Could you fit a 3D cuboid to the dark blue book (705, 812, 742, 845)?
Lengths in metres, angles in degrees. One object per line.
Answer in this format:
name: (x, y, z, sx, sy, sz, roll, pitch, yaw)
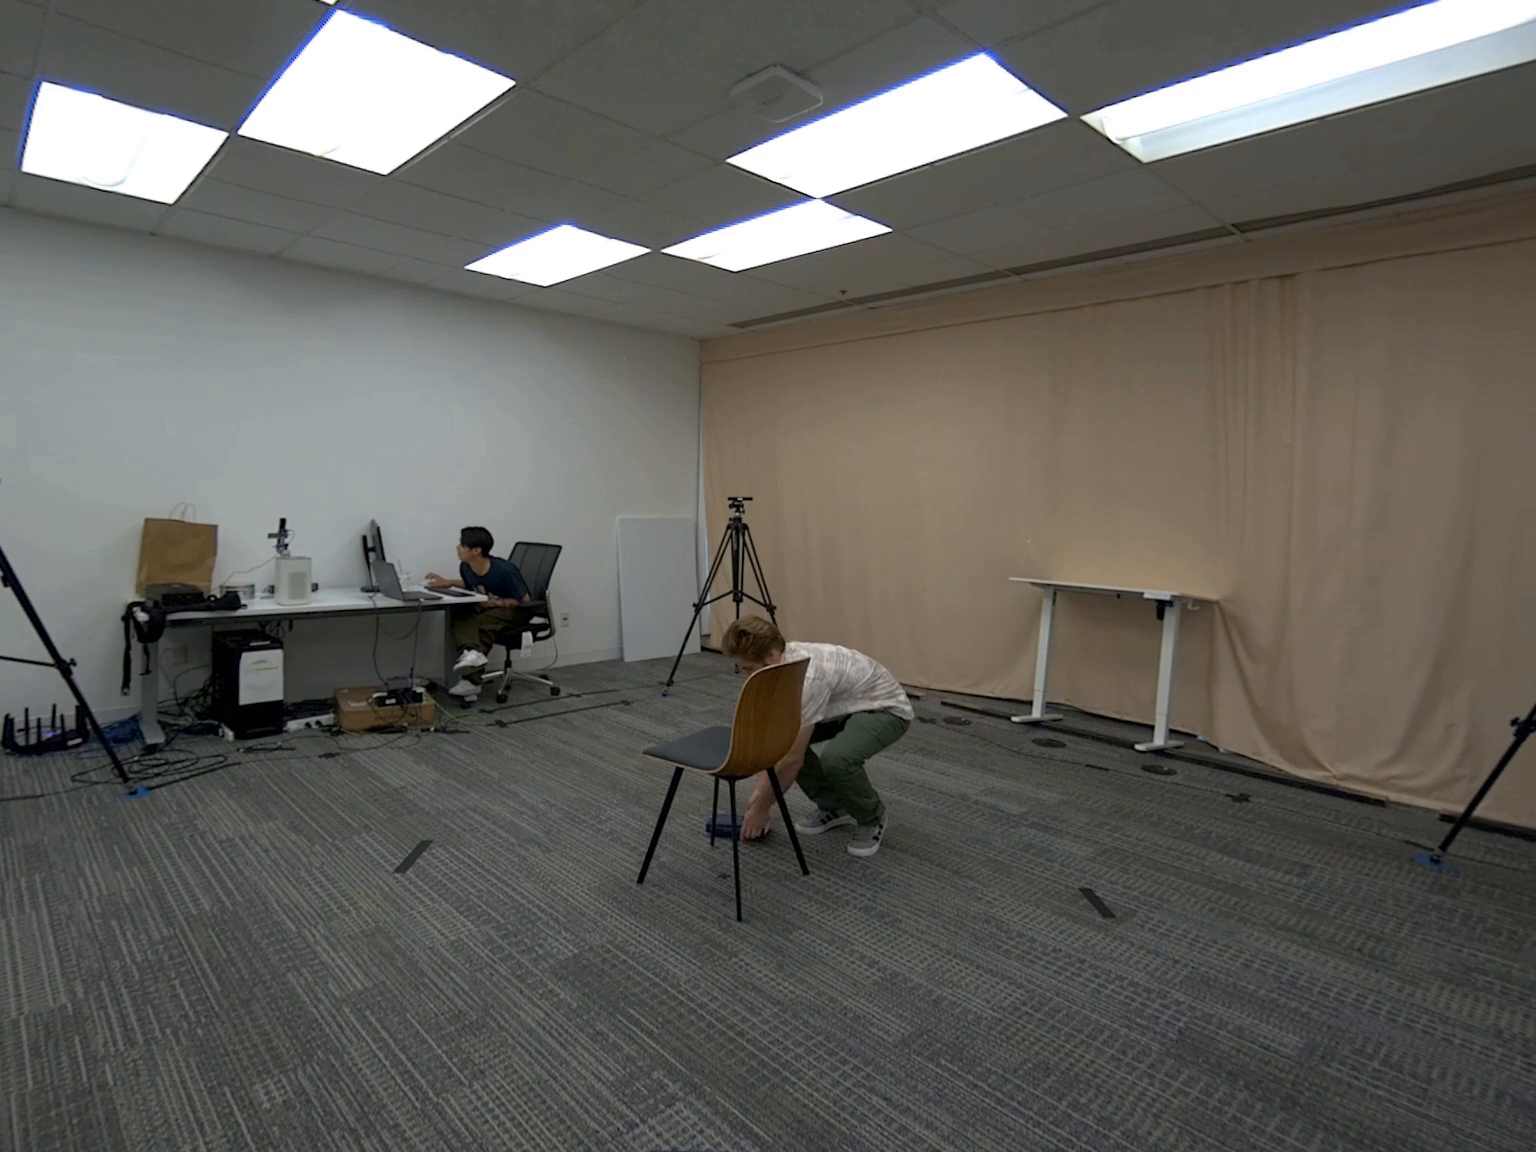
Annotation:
dark blue book: (-0.122, 1.042, 3.517, 0.247, 0.045, 0.161, 0, -3, 12)
